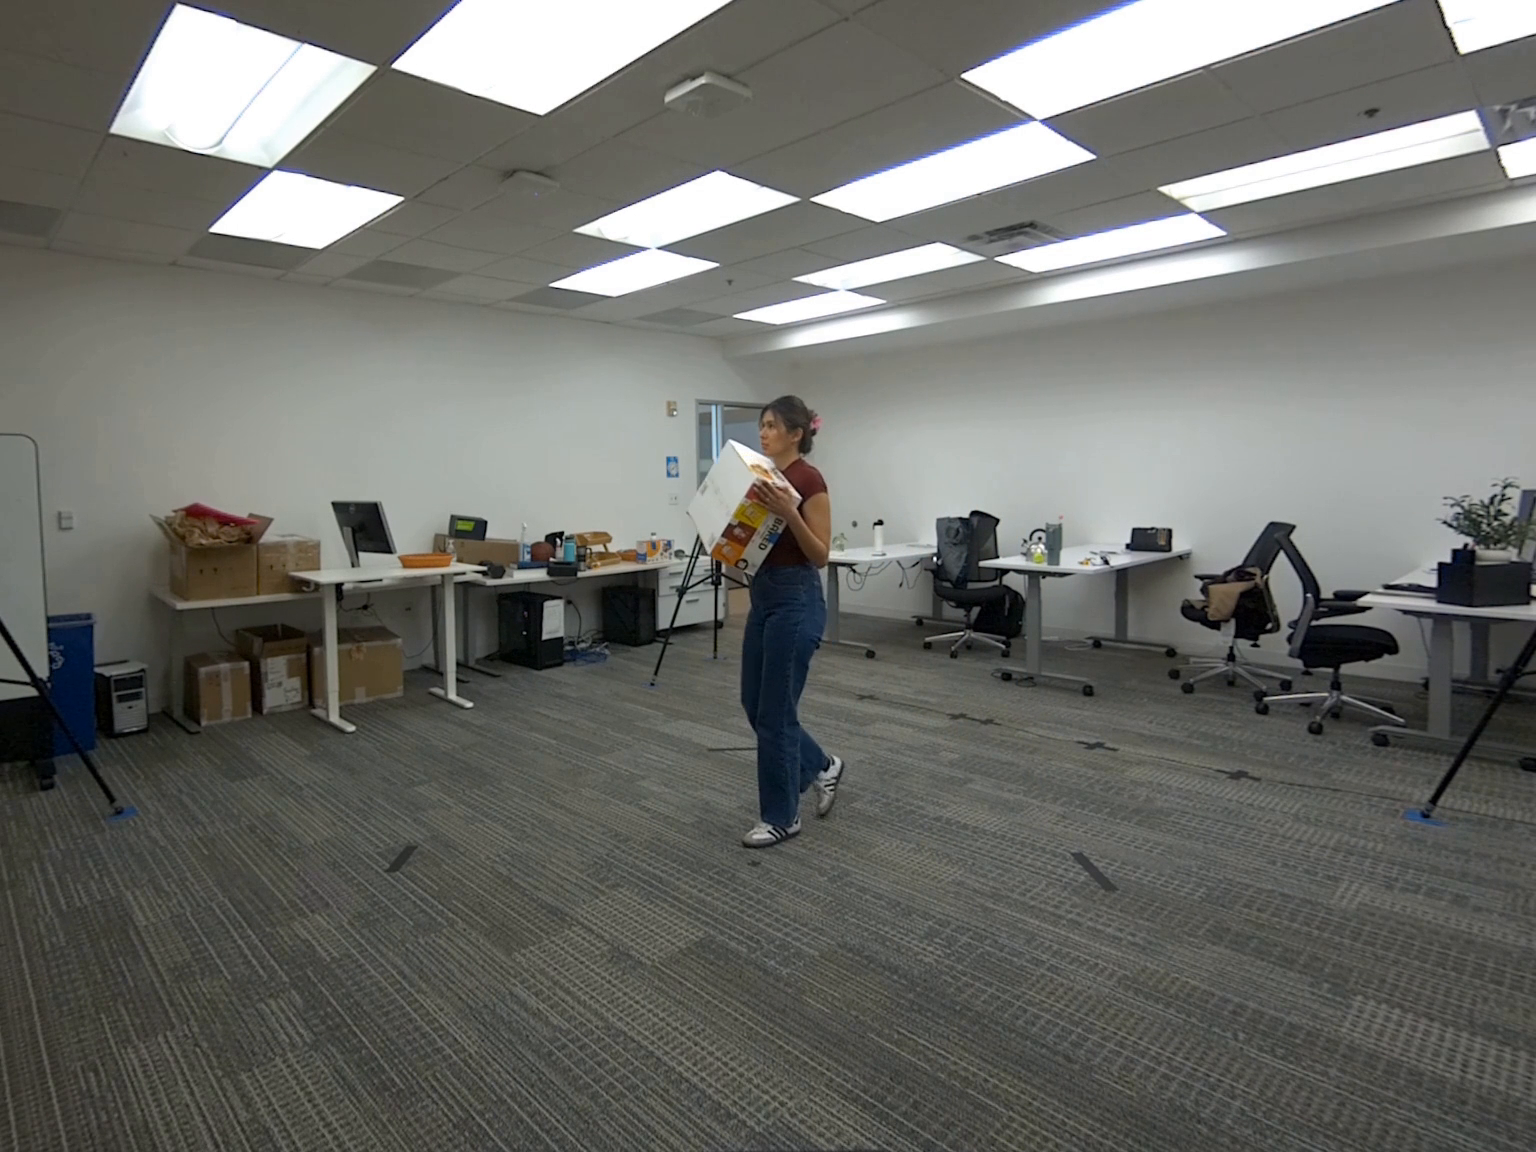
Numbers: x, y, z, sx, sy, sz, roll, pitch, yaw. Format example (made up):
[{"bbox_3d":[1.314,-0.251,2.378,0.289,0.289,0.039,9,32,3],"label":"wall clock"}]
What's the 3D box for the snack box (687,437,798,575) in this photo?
[{"bbox_3d":[-0.093,-0.269,3.238,0.199,0.339,0.419,23,18,-28],"label":"snack box"}]
